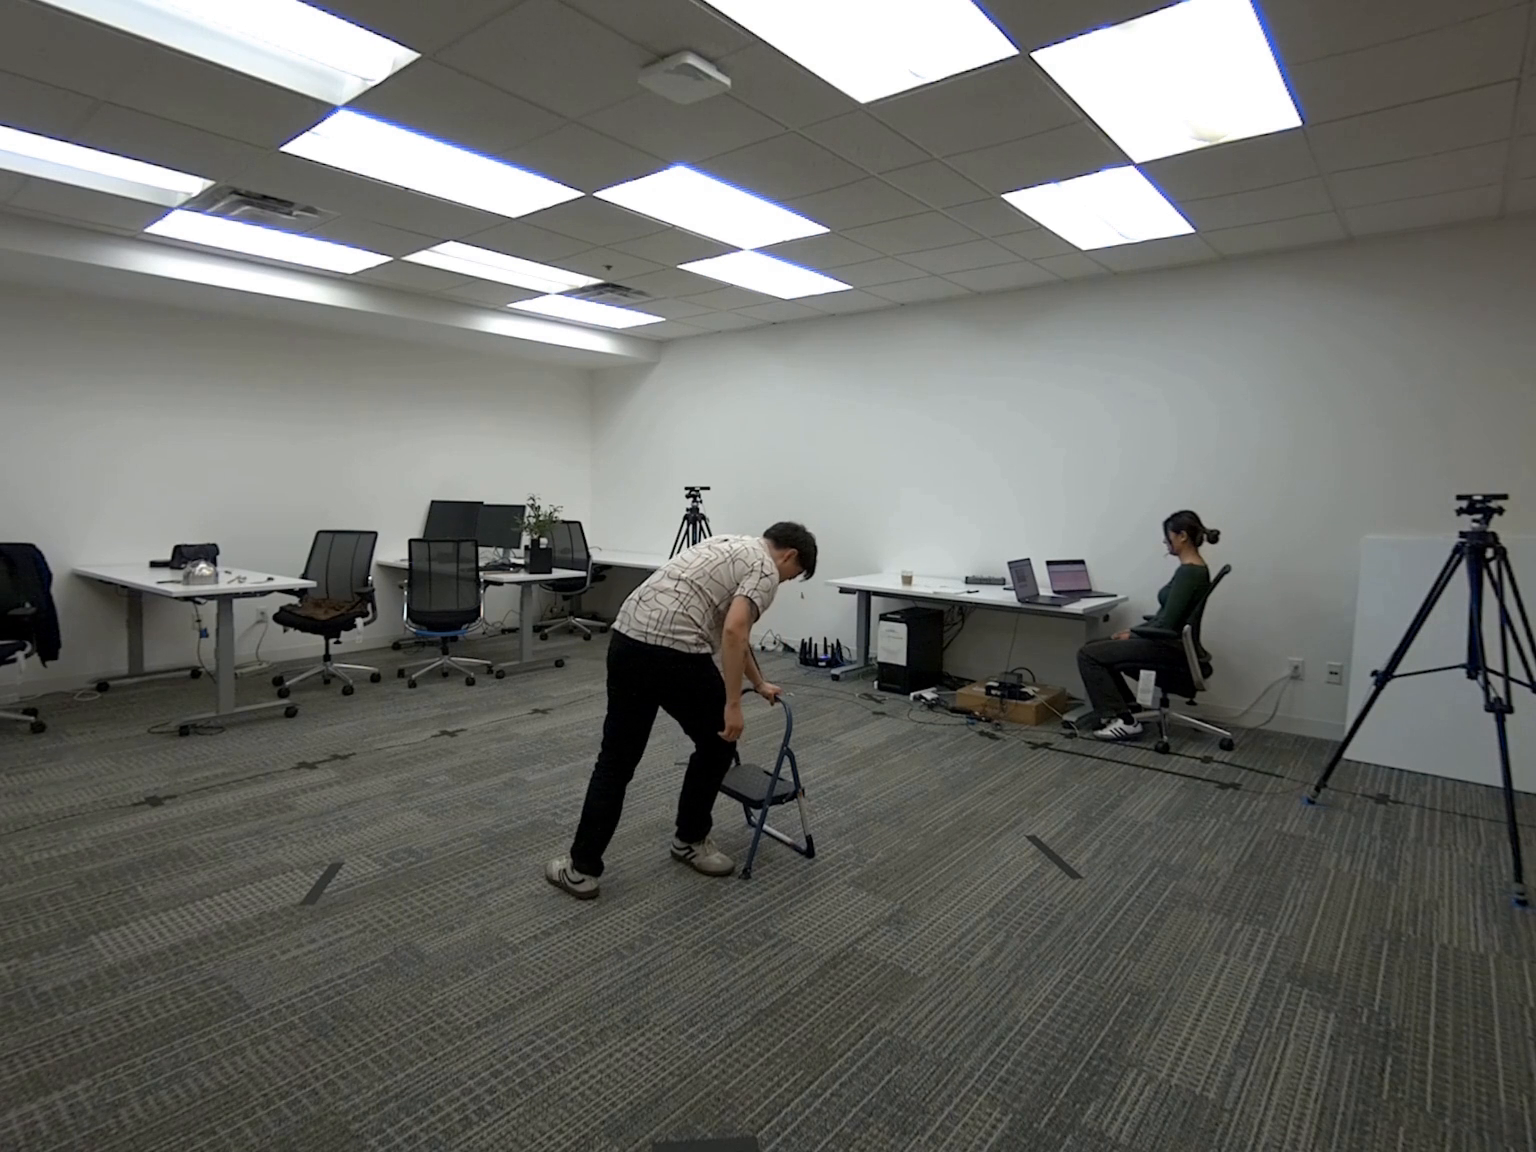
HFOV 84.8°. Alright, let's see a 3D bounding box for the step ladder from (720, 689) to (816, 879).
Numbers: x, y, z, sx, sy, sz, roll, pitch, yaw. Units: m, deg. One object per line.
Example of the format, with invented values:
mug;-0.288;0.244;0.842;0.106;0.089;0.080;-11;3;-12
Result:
step ladder;-0.083;0.746;3.271;0.339;0.604;0.445;-1;4;-37
